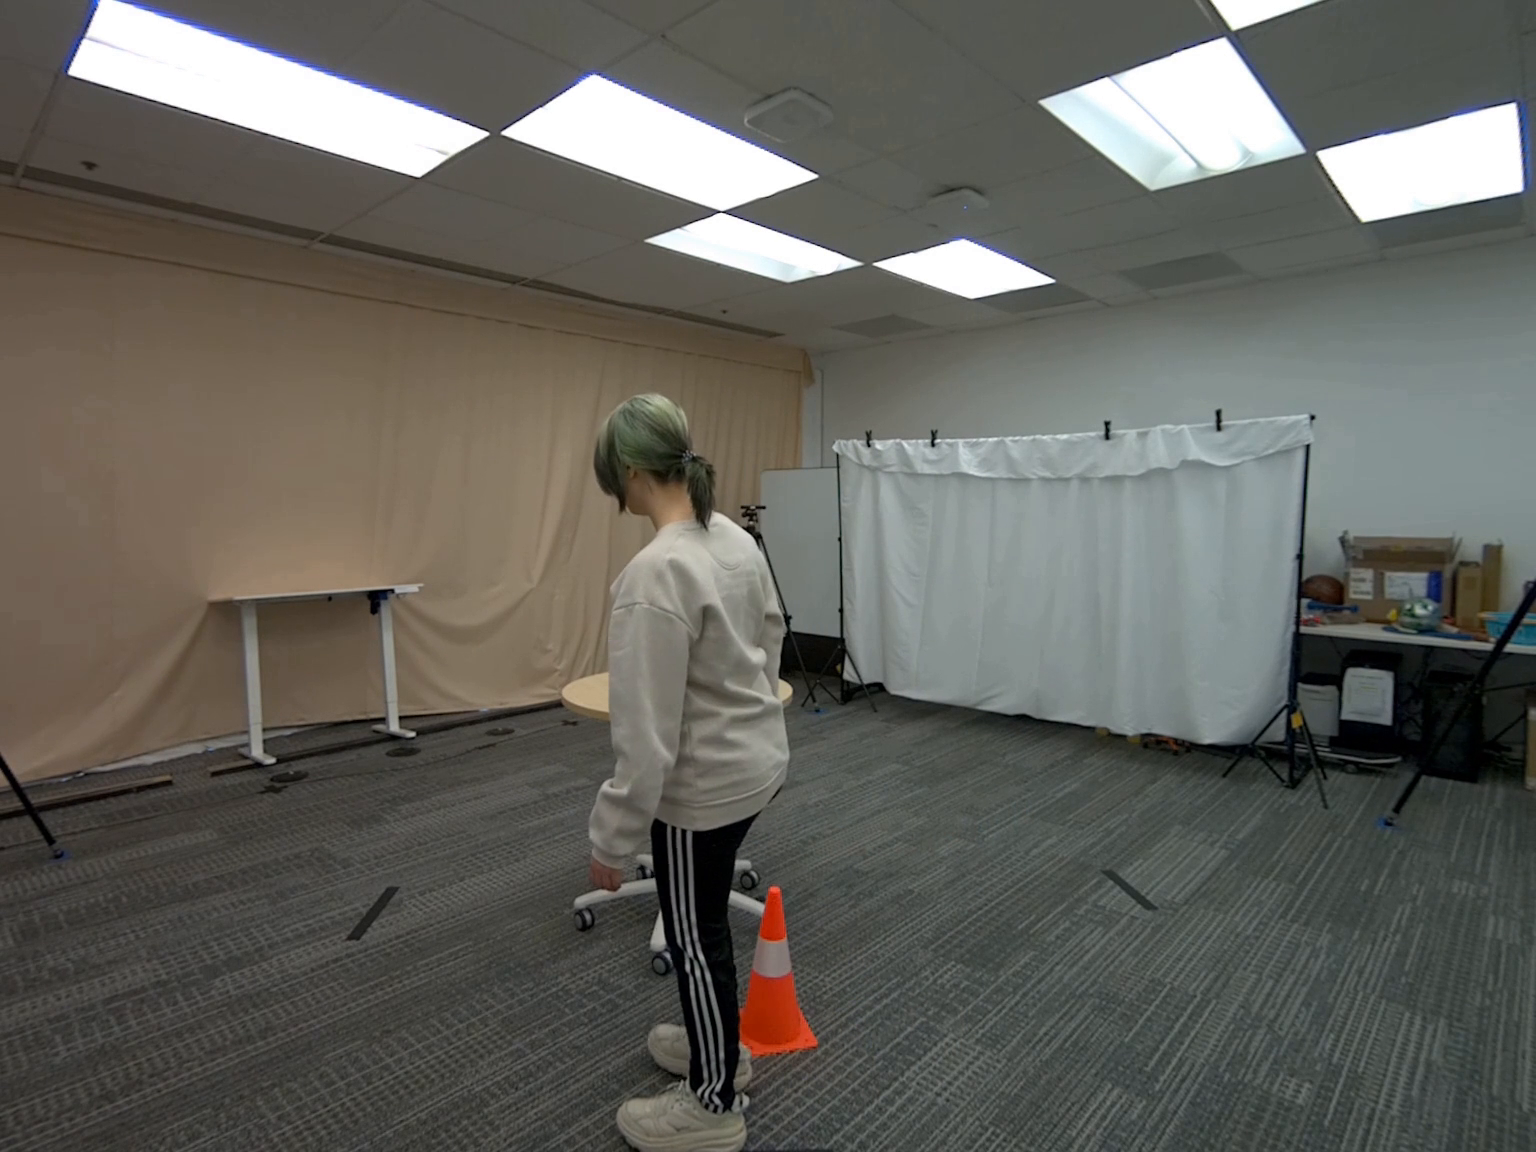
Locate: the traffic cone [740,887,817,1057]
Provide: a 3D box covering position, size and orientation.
[{"bbox_3d":[0.017,1.027,2.223,0.201,0.382,0.208,-1,4,-13],"label":"traffic cone"}]
